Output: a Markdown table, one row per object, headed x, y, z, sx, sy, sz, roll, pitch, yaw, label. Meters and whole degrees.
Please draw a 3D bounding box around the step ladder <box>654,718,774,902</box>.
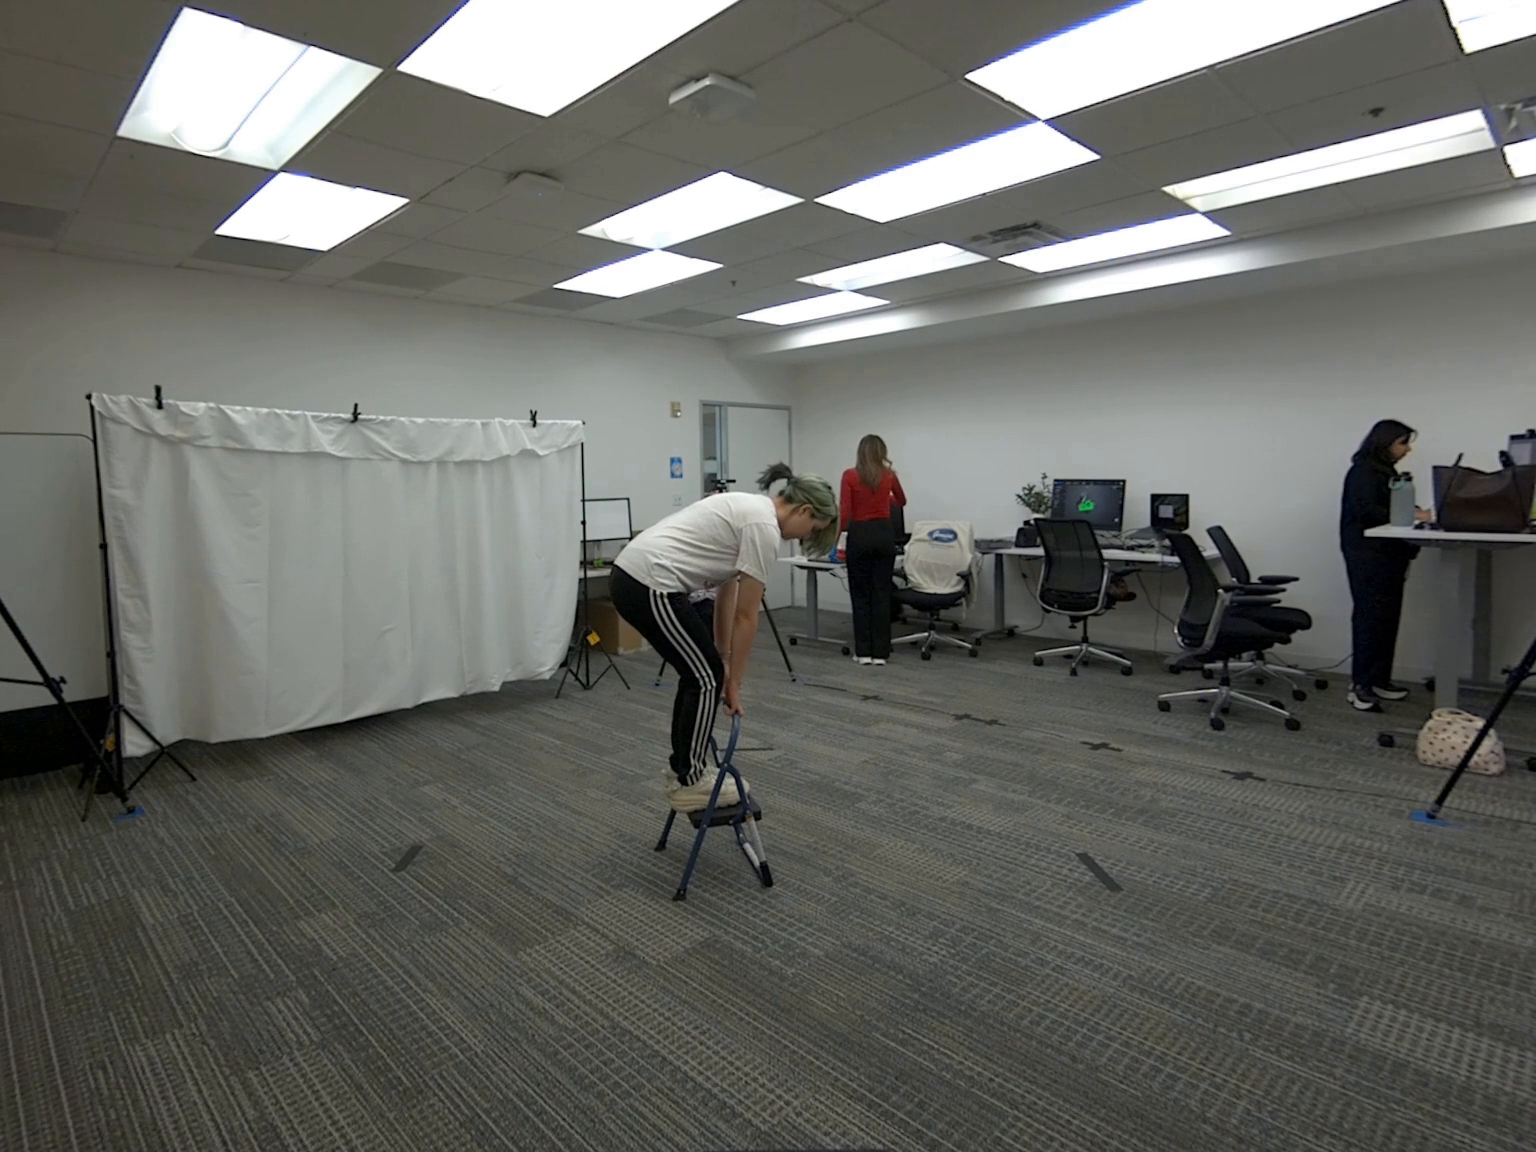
| x | y | z | sx | sy | sz | roll | pitch | yaw | label |
| --- | --- | --- | --- | --- | --- | --- | --- | --- | --- |
| -0.205 | 0.757 | 3.071 | 0.344 | 0.604 | 0.438 | -2 | 5 | -16 | step ladder |
